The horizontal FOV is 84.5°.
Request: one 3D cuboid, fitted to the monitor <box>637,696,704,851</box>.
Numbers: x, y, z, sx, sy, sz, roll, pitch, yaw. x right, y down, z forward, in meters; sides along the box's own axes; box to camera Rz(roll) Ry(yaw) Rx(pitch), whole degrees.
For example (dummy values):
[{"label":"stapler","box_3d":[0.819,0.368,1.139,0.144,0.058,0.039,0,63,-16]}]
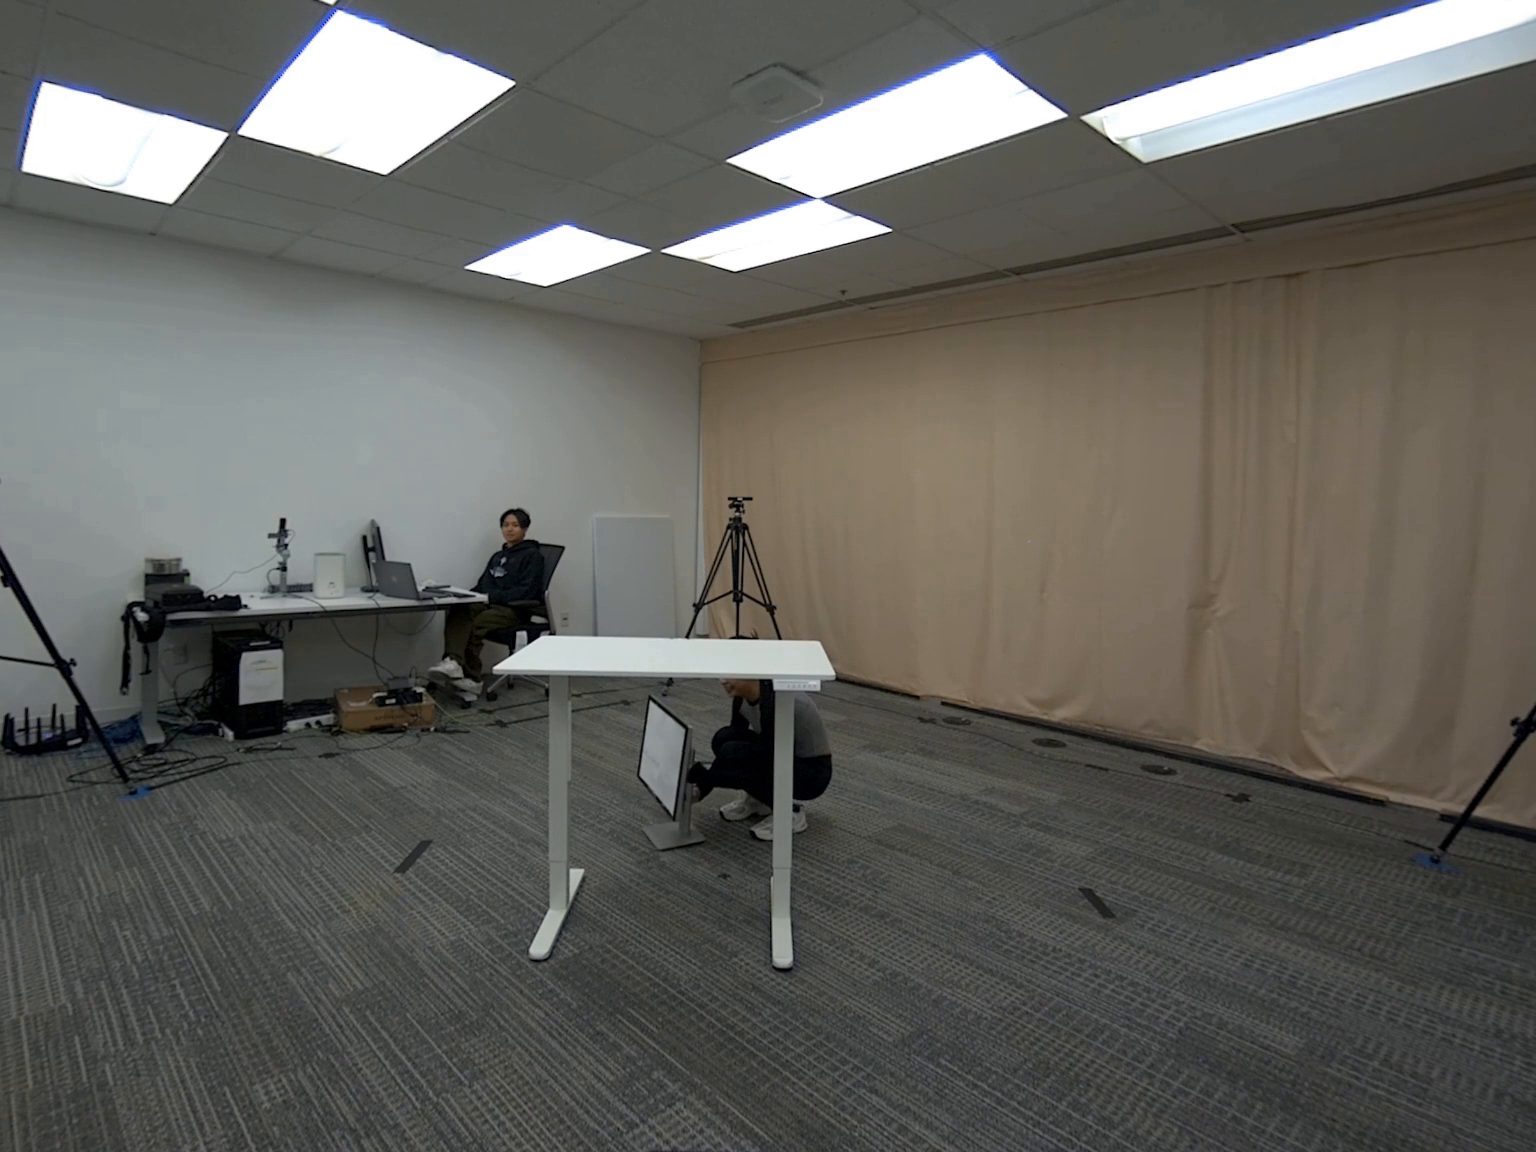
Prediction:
[{"label":"monitor","box_3d":[-0.400,0.800,3.438,0.184,0.521,0.550,-5,5,-25]}]
